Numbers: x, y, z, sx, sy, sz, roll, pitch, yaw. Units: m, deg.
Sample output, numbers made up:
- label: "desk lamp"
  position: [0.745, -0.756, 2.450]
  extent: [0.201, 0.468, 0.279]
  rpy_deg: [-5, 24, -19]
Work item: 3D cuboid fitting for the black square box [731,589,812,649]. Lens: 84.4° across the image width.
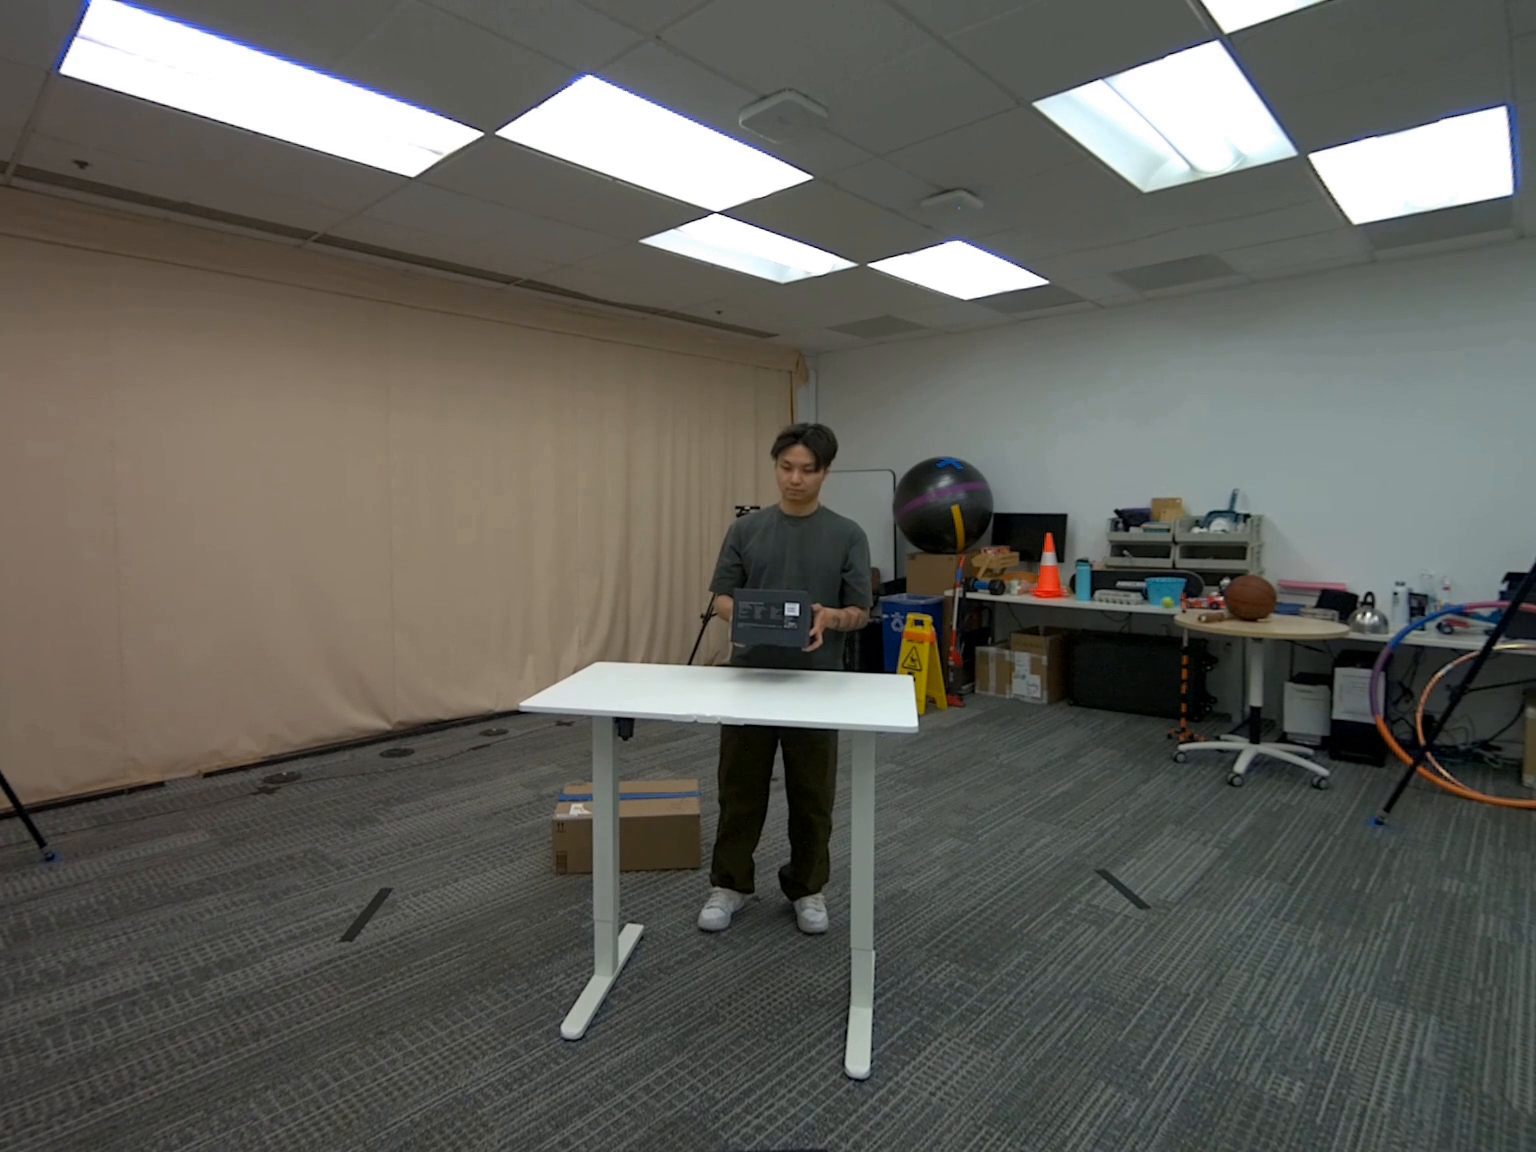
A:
- label: "black square box"
  position: [0.010, 0.120, 2.502]
  extent: [0.218, 0.156, 0.226]
  rpy_deg: [1, -3, 5]
